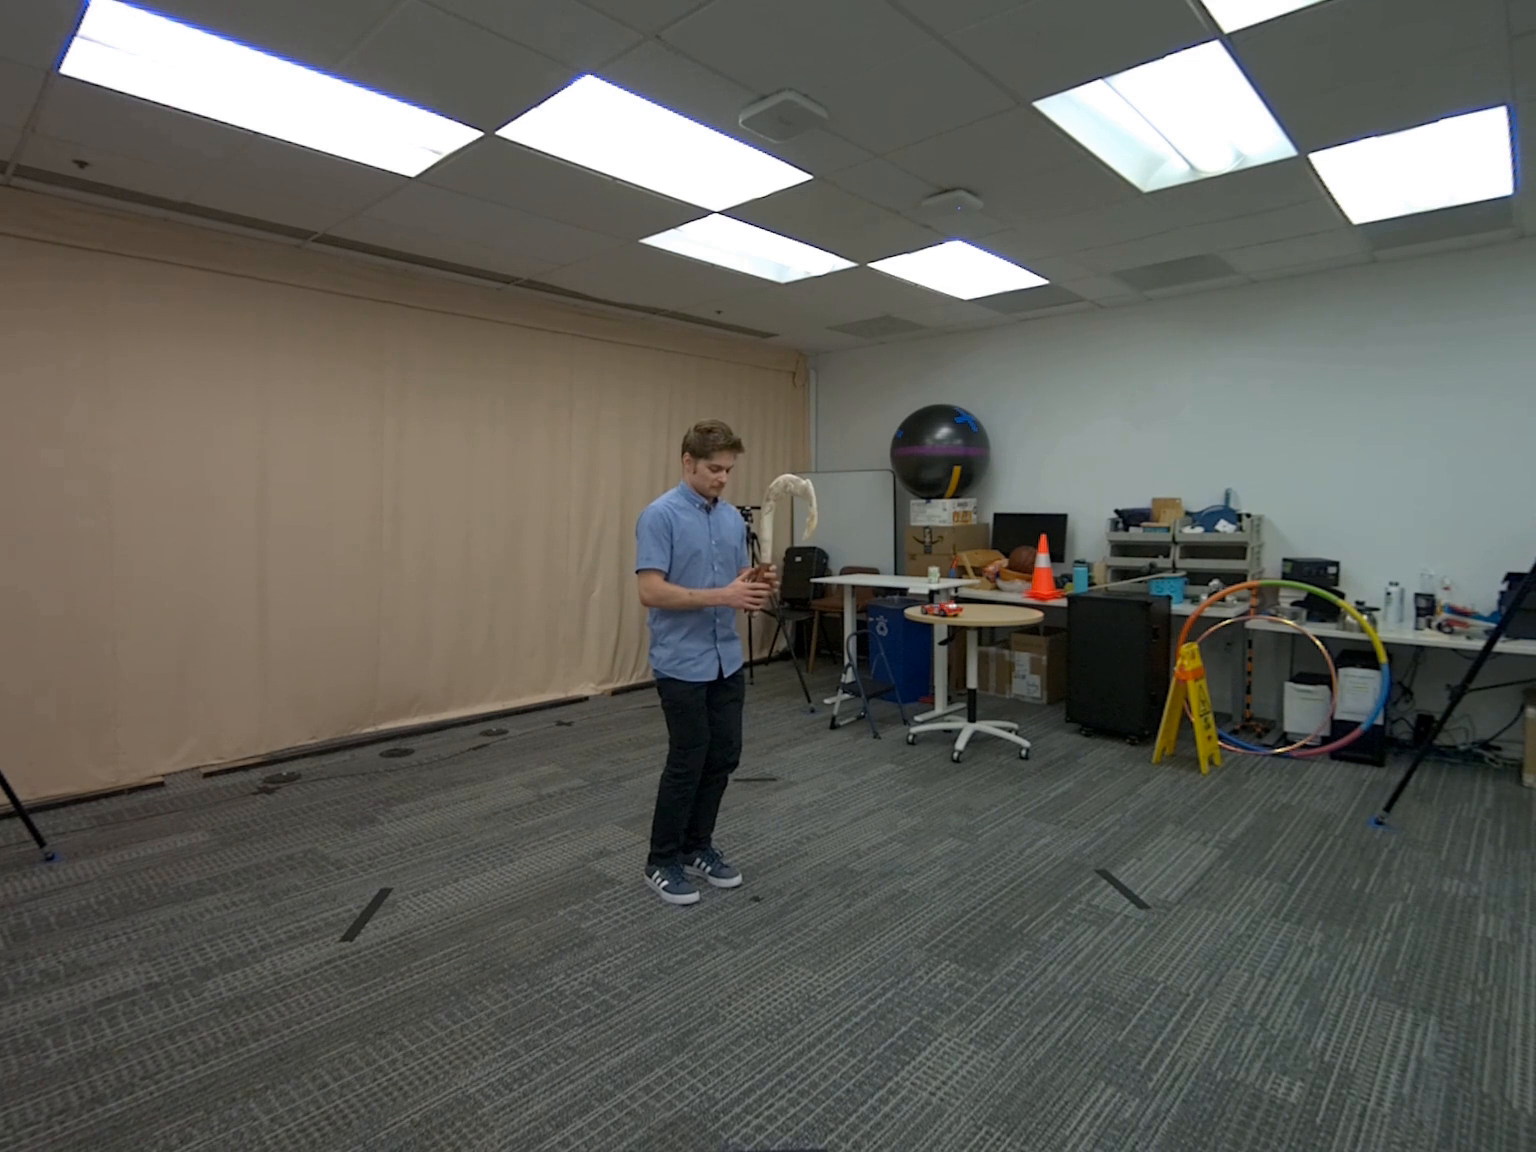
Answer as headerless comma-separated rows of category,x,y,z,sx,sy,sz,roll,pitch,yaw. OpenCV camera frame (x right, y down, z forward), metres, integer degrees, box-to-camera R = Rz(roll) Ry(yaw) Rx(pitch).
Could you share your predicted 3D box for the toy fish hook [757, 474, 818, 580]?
toy fish hook,0.048,-0.086,2.820,0.233,0.505,0.047,23,14,41
